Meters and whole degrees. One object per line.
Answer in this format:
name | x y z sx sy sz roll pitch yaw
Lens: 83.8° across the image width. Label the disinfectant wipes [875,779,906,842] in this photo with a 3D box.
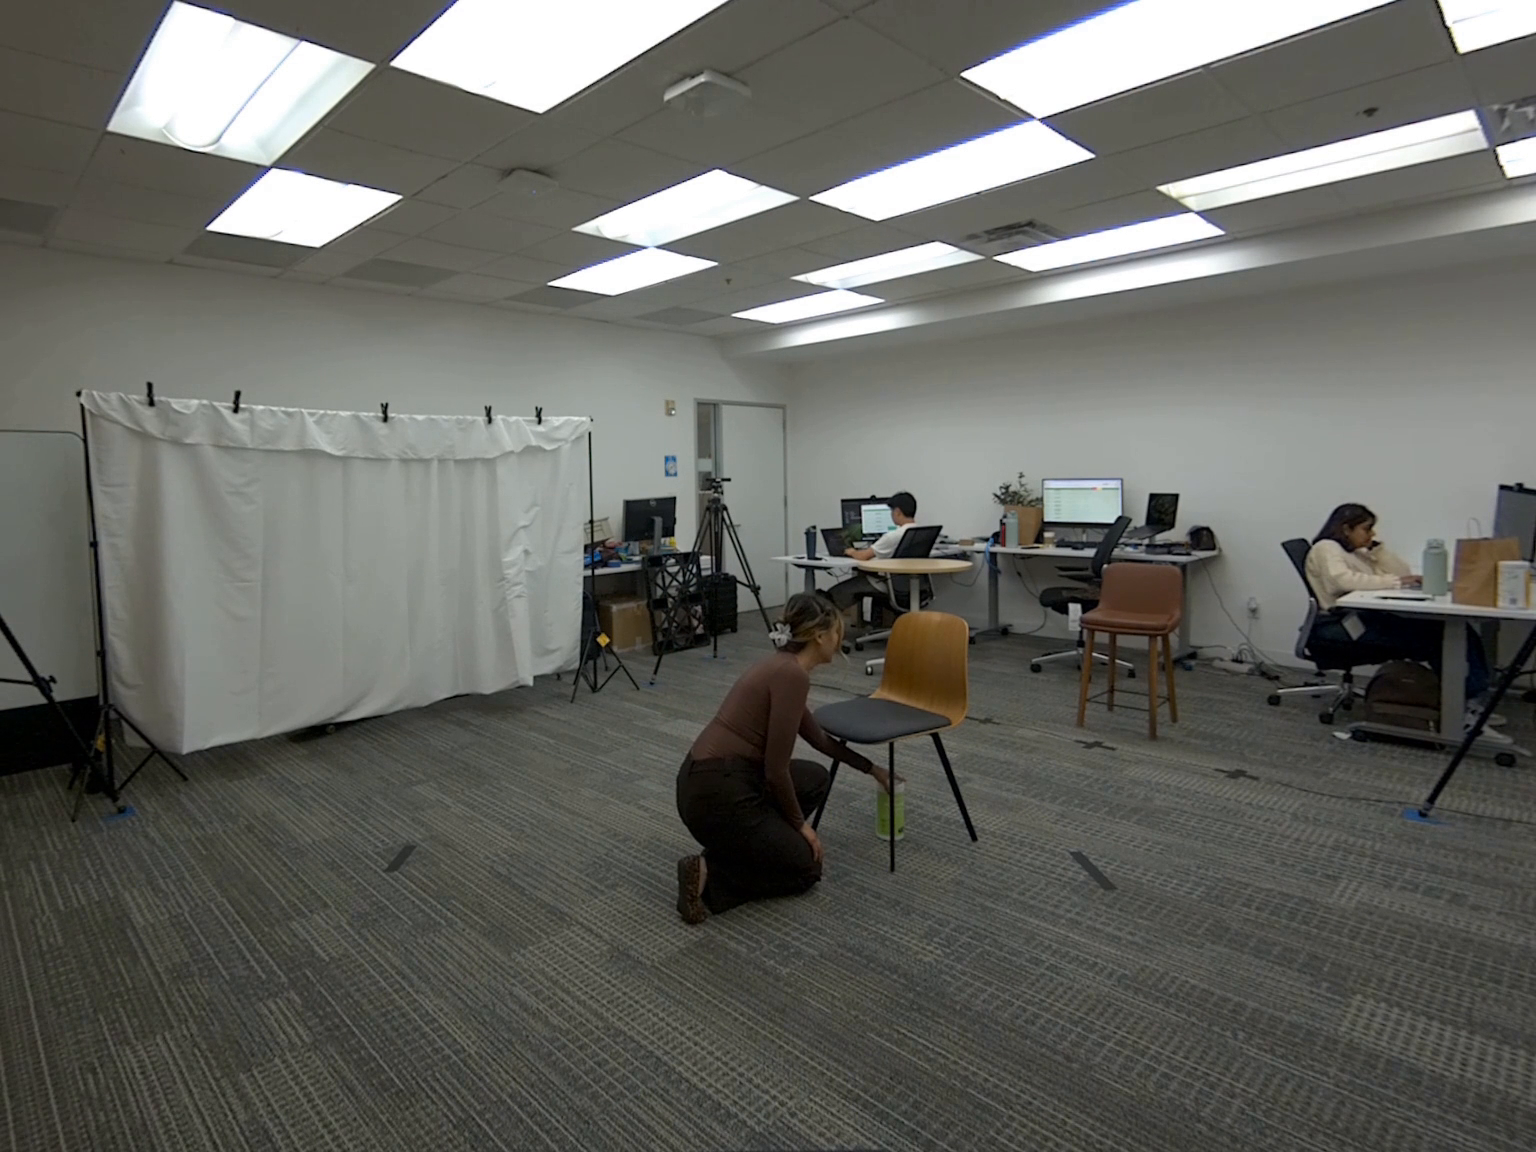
disinfectant wipes | 0.482 0.914 3.311 0.118 0.217 0.118 -1 3 -2
